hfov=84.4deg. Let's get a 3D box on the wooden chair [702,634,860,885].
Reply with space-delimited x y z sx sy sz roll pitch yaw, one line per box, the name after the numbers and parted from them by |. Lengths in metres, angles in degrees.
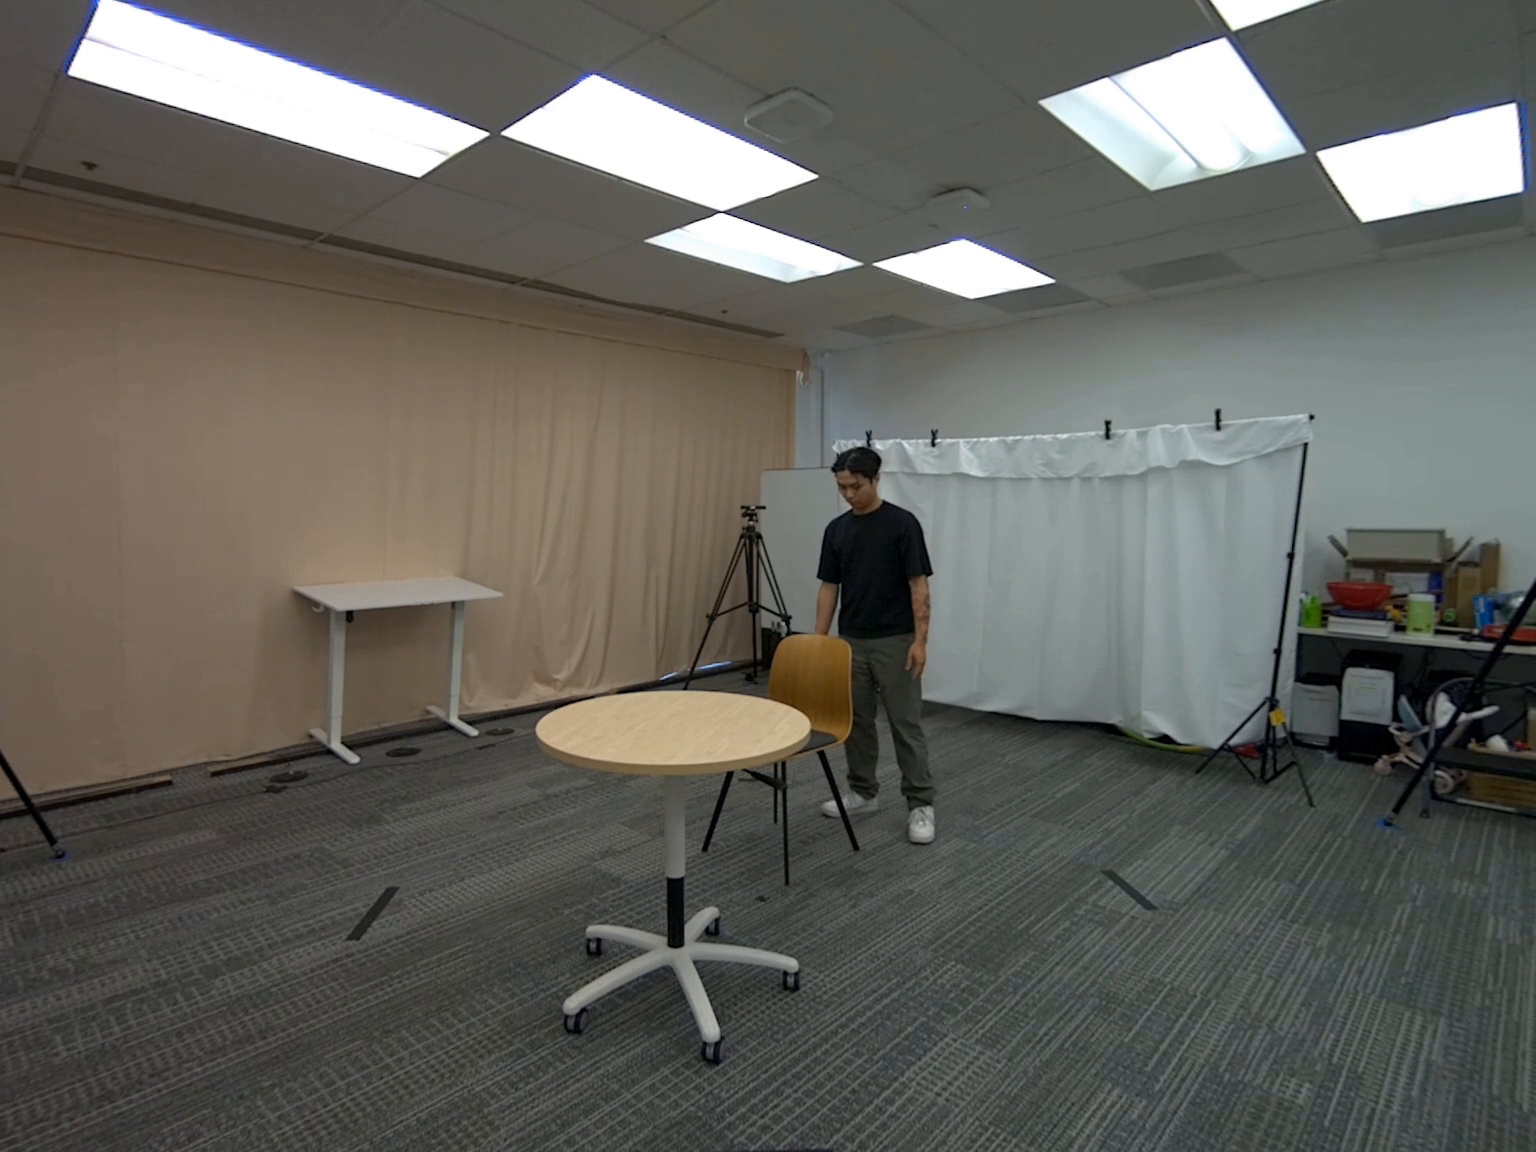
0.047 0.686 3.357 0.494 0.877 0.506 3 0 43 | wooden chair
